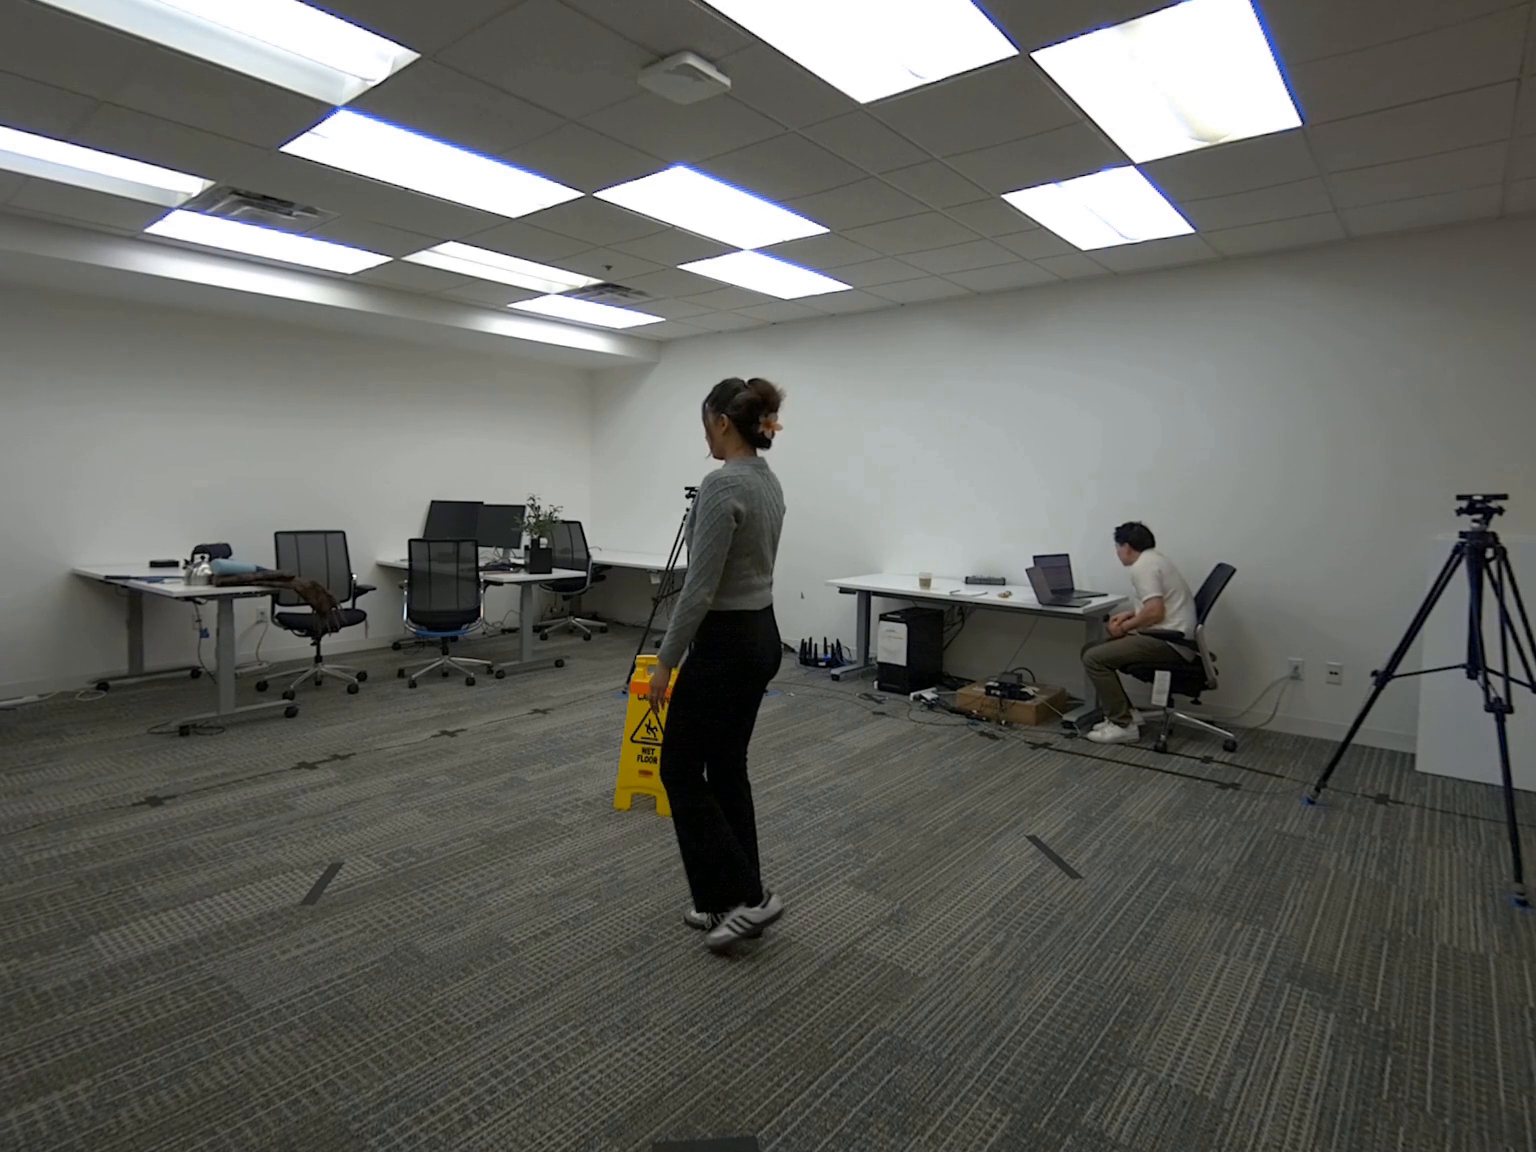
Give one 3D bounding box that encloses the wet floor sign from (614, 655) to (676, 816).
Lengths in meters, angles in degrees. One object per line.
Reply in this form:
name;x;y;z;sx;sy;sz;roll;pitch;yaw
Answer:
wet floor sign;-0.507;0.674;3.769;0.288;0.644;0.285;3;3;17
